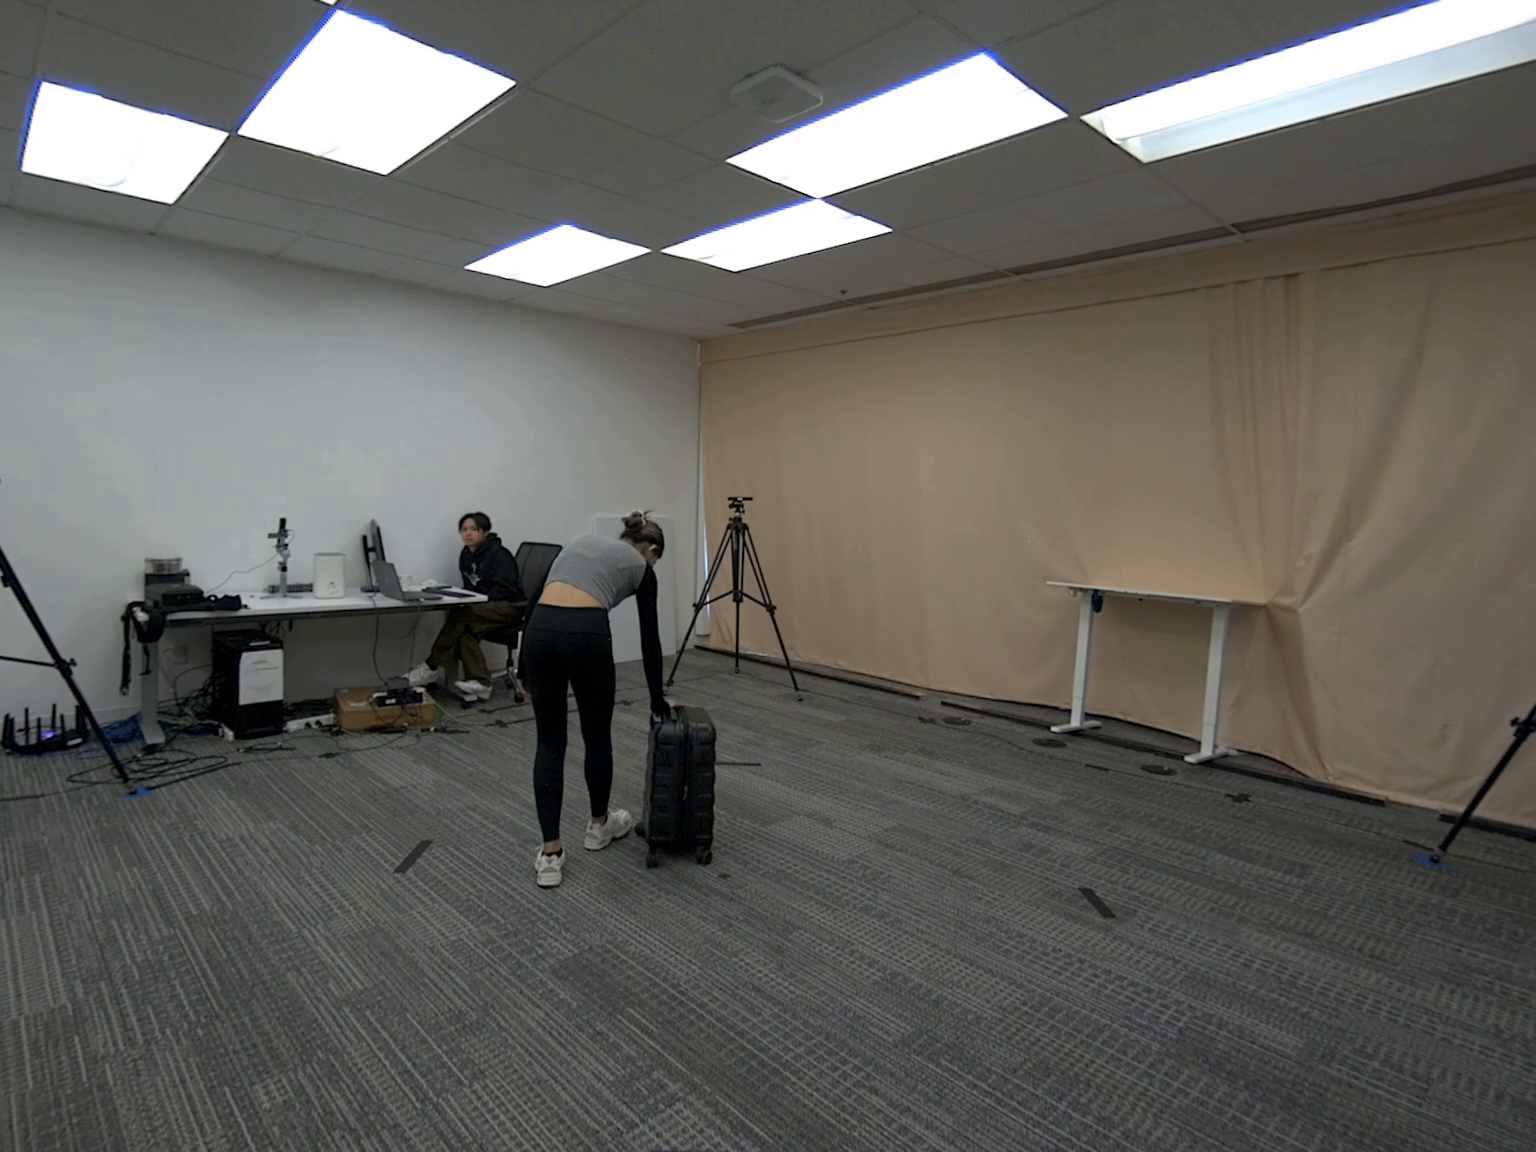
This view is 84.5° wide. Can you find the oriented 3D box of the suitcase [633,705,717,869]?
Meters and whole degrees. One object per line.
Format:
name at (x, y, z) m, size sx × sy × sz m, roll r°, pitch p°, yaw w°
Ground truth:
suitcase at (-0.362, 0.802, 3.339) m, size 0.246 × 0.549 × 0.378 m, roll 2°, pitch 2°, yaw -10°
